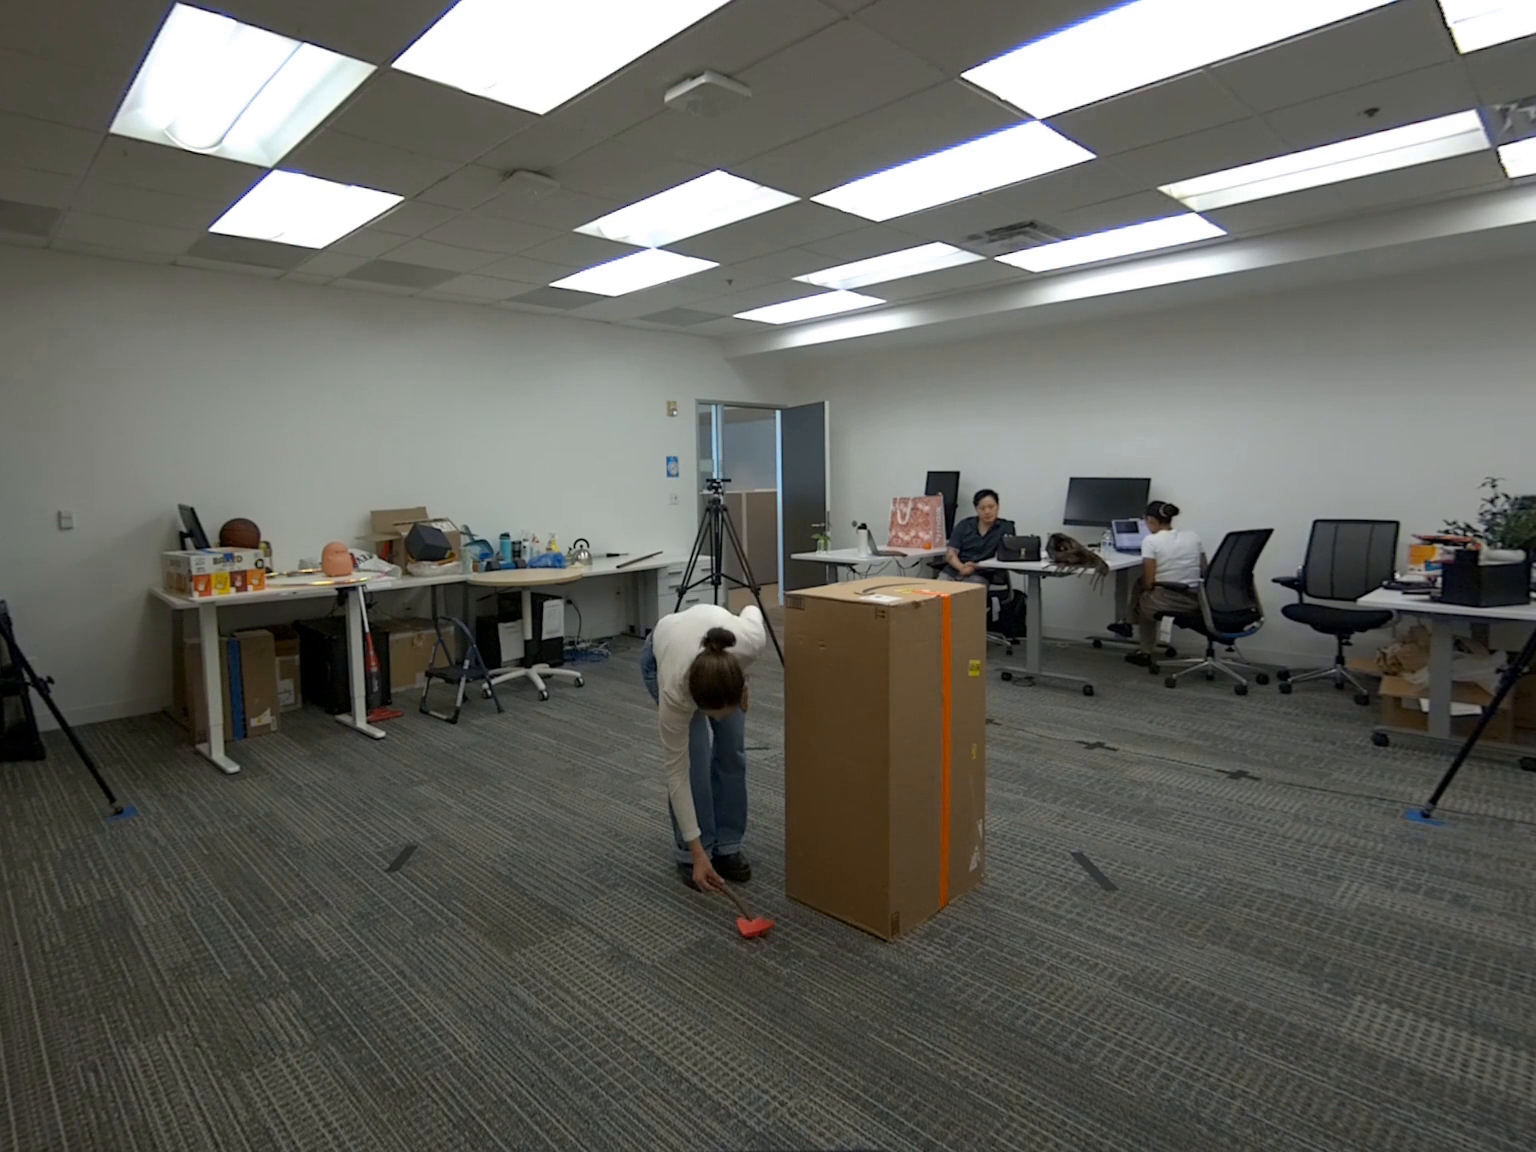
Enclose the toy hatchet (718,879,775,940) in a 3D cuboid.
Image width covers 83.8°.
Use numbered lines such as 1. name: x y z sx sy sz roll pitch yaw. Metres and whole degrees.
1. toy hatchet: -0.115 1.033 2.665 0.278 0.029 0.128 24 21 26
